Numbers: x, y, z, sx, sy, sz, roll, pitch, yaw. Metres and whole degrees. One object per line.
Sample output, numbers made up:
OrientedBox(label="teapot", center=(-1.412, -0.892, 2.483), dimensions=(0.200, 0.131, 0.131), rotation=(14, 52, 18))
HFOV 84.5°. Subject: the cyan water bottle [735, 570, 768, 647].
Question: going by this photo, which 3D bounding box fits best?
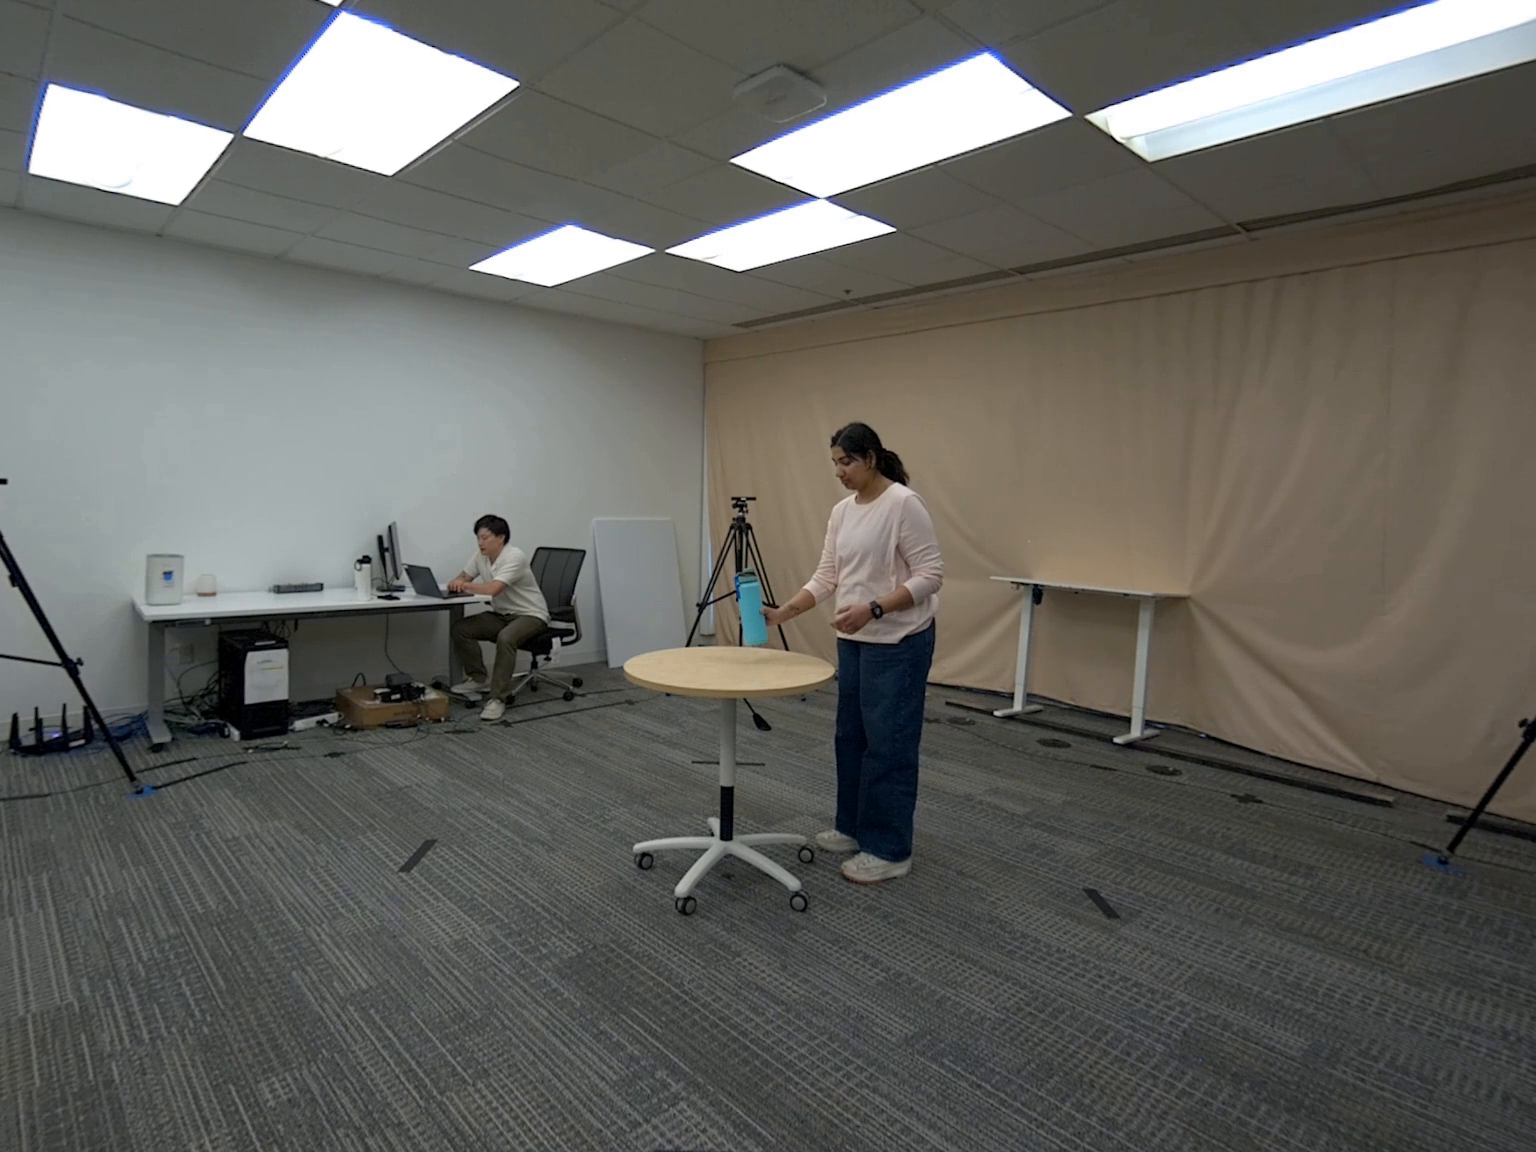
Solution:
OrientedBox(label="cyan water bottle", center=(-0.068, 0.111, 3.145), dimensions=(0.092, 0.283, 0.092), rotation=(-10, 0, -1))
